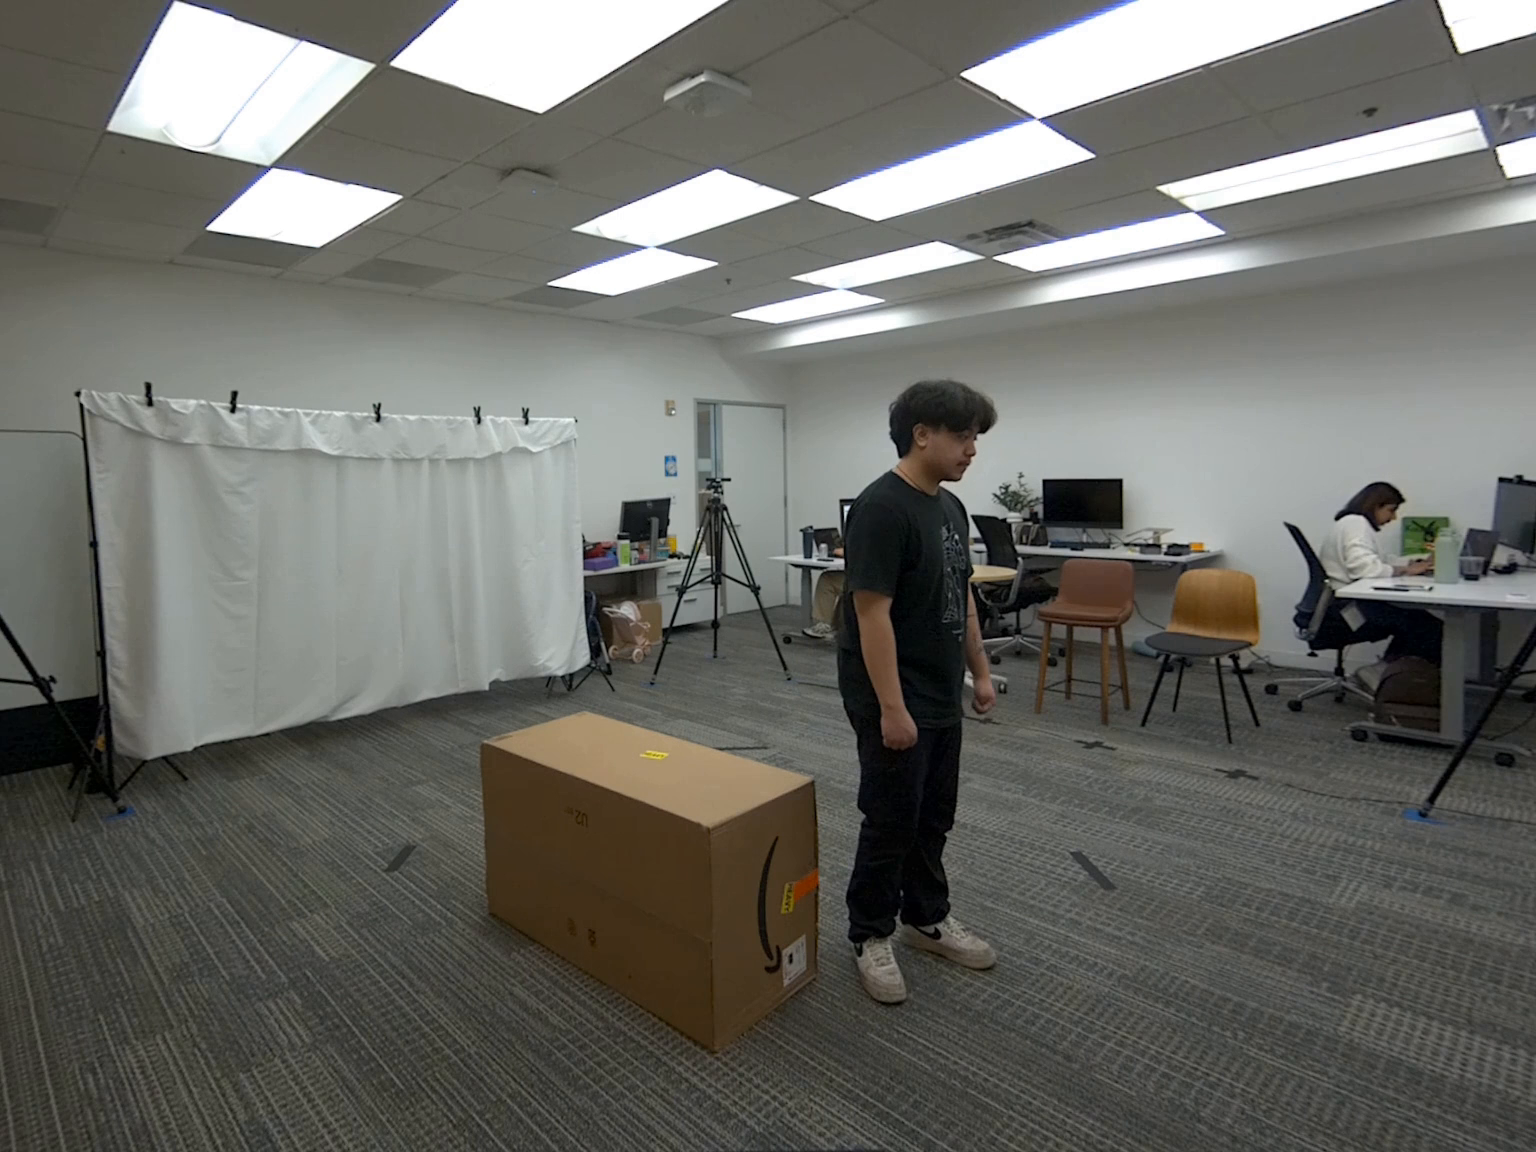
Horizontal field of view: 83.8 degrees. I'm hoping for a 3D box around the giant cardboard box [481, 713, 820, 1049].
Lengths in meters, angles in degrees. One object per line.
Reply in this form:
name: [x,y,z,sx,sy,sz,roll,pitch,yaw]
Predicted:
giant cardboard box: [-0.387,0.826,2.564,1.059,0.581,0.435,5,7,41]
